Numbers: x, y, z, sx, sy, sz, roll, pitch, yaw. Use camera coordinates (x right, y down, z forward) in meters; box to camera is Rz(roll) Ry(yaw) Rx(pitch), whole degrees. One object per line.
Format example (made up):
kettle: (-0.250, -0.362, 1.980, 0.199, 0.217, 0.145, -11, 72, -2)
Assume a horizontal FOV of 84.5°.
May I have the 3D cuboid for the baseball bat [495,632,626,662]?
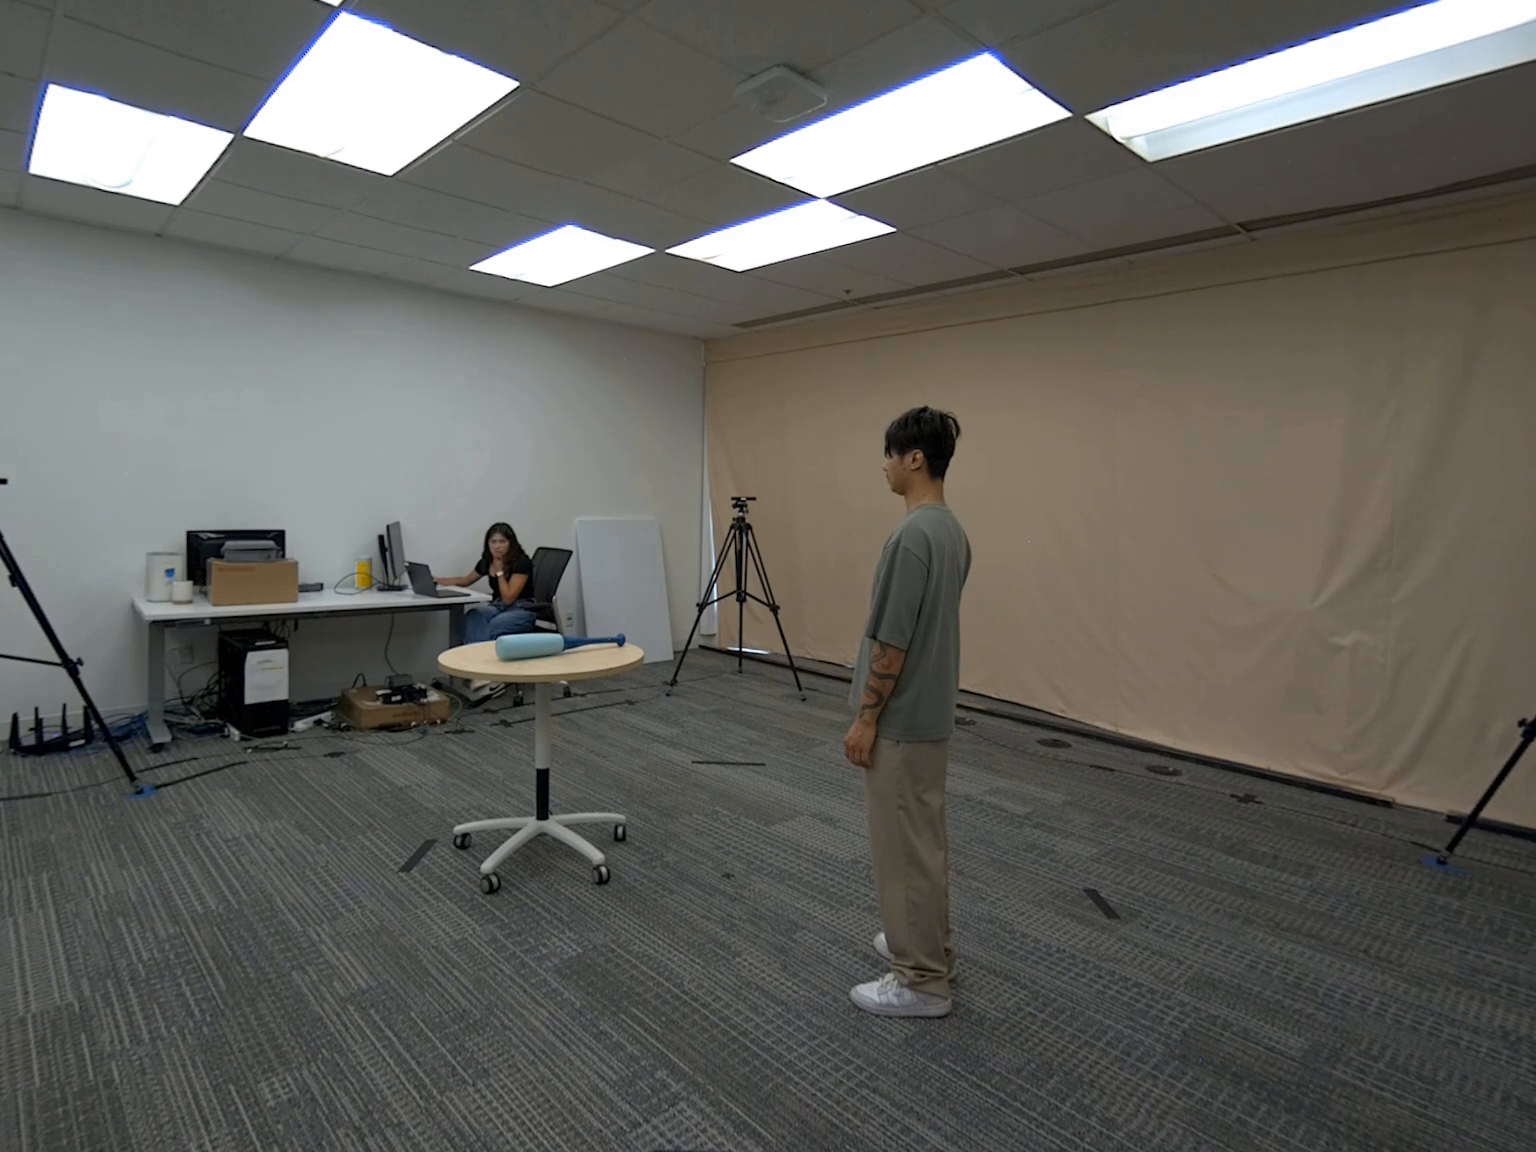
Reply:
baseball bat: (-0.787, 0.260, 3.226, 0.530, 0.089, 0.091, -1, 5, -42)
